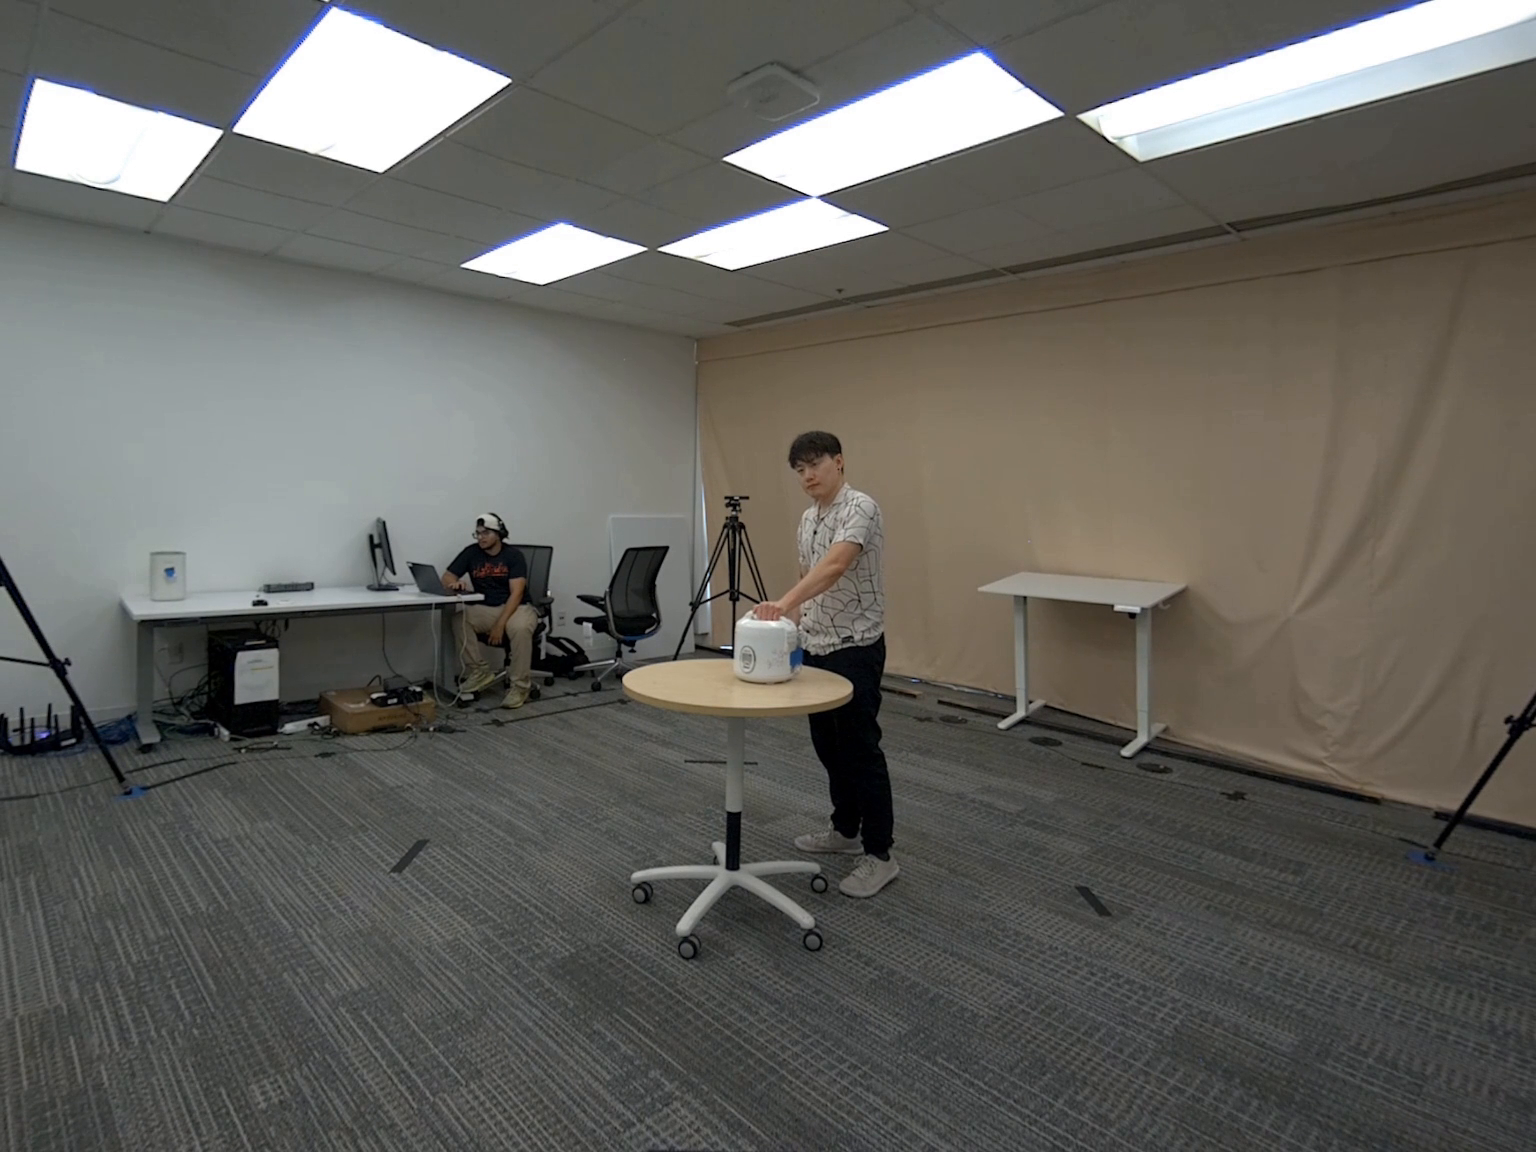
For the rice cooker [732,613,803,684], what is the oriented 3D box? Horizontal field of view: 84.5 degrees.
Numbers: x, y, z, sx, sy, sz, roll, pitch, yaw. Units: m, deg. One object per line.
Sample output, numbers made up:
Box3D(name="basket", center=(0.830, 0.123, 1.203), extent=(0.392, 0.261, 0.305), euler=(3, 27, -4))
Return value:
Box3D(name="rice cooker", center=(-0.013, 0.234, 2.838), extent=(0.226, 0.232, 0.213), euler=(5, 4, 33))
